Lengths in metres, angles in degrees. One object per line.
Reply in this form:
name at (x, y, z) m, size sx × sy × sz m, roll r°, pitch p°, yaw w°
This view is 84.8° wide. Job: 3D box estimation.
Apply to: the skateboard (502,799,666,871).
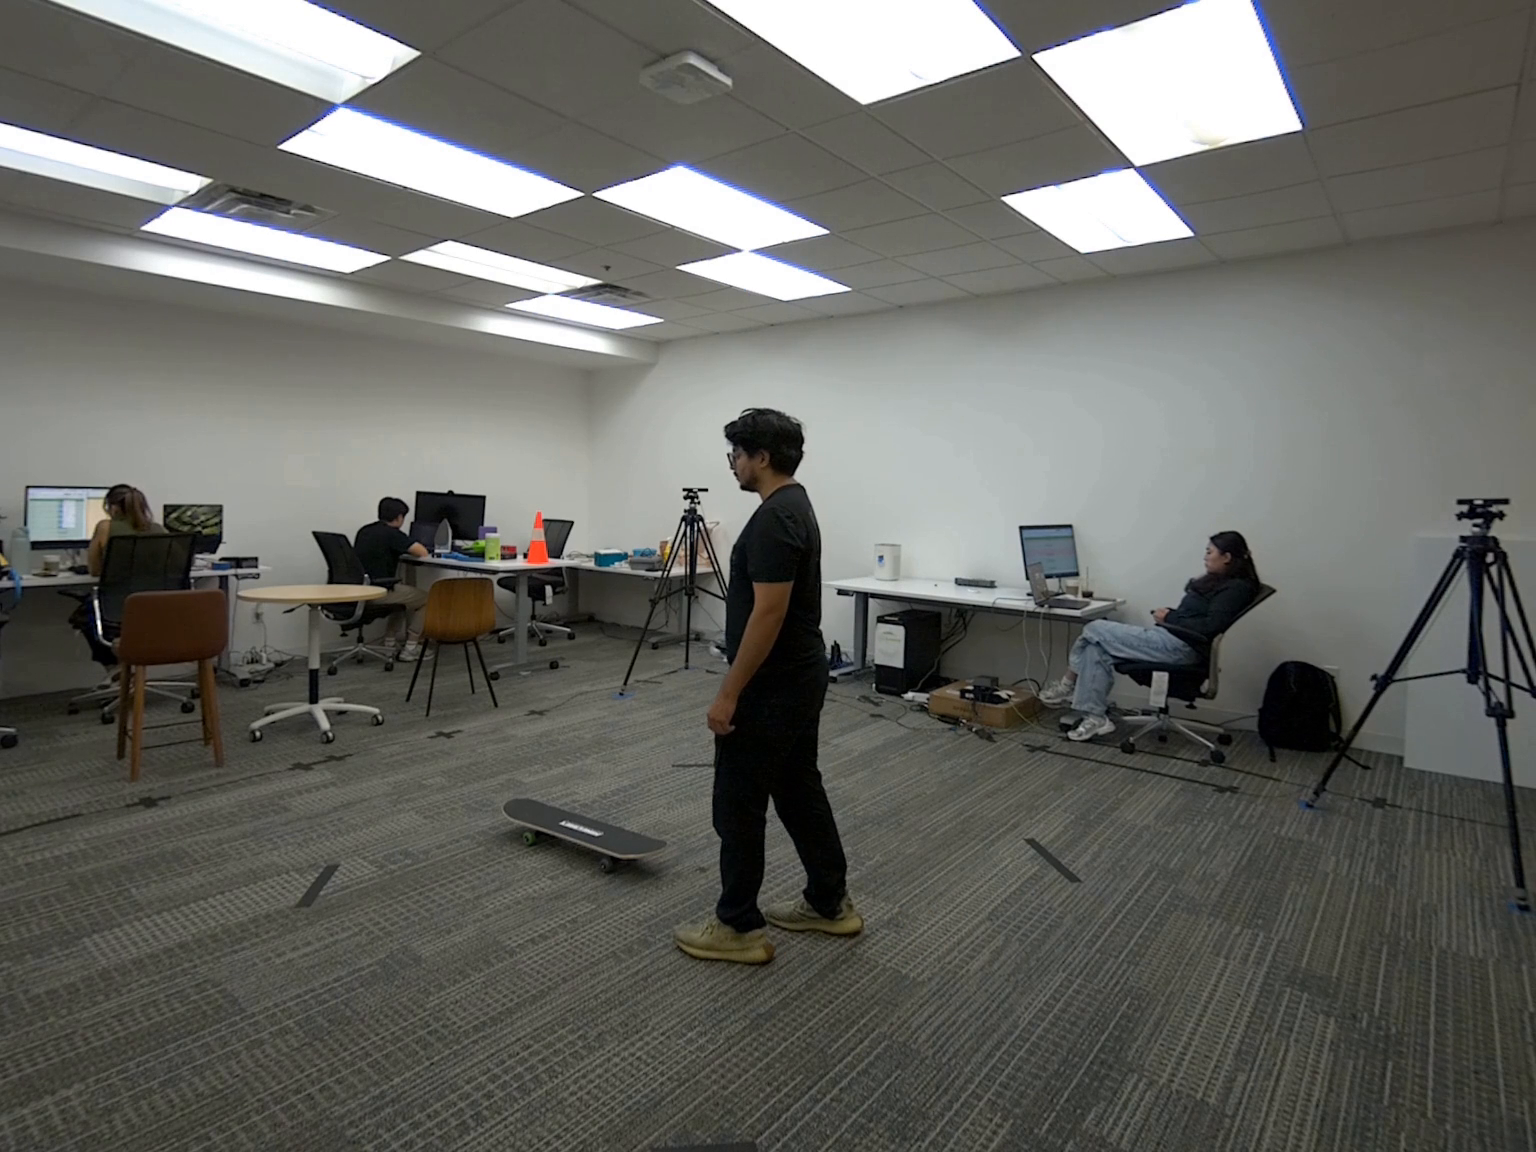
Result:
skateboard at (-0.725, 0.988, 3.242) m, size 0.810 × 0.110 × 0.188 m, roll 5°, pitch 5°, yaw 33°
